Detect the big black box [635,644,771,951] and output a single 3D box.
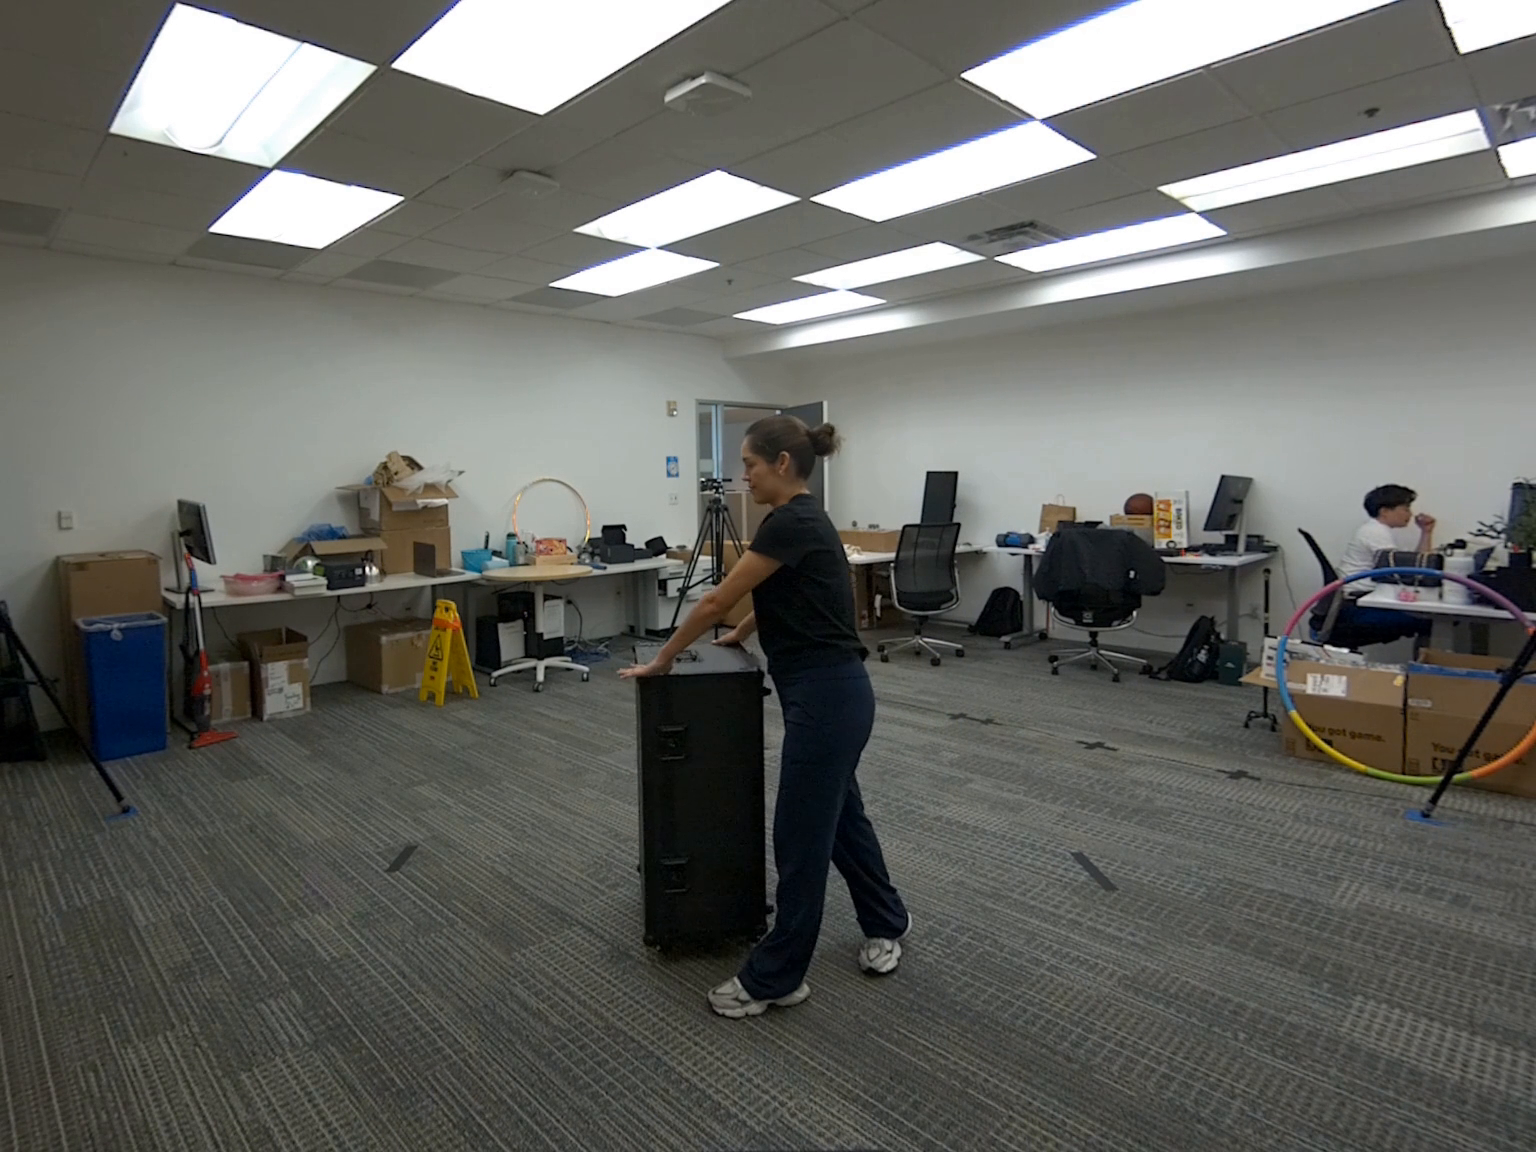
[{"bbox_3d":[-0.218,0.669,2.694,0.392,0.859,0.528,-1,4,-11],"label":"big black box"}]
